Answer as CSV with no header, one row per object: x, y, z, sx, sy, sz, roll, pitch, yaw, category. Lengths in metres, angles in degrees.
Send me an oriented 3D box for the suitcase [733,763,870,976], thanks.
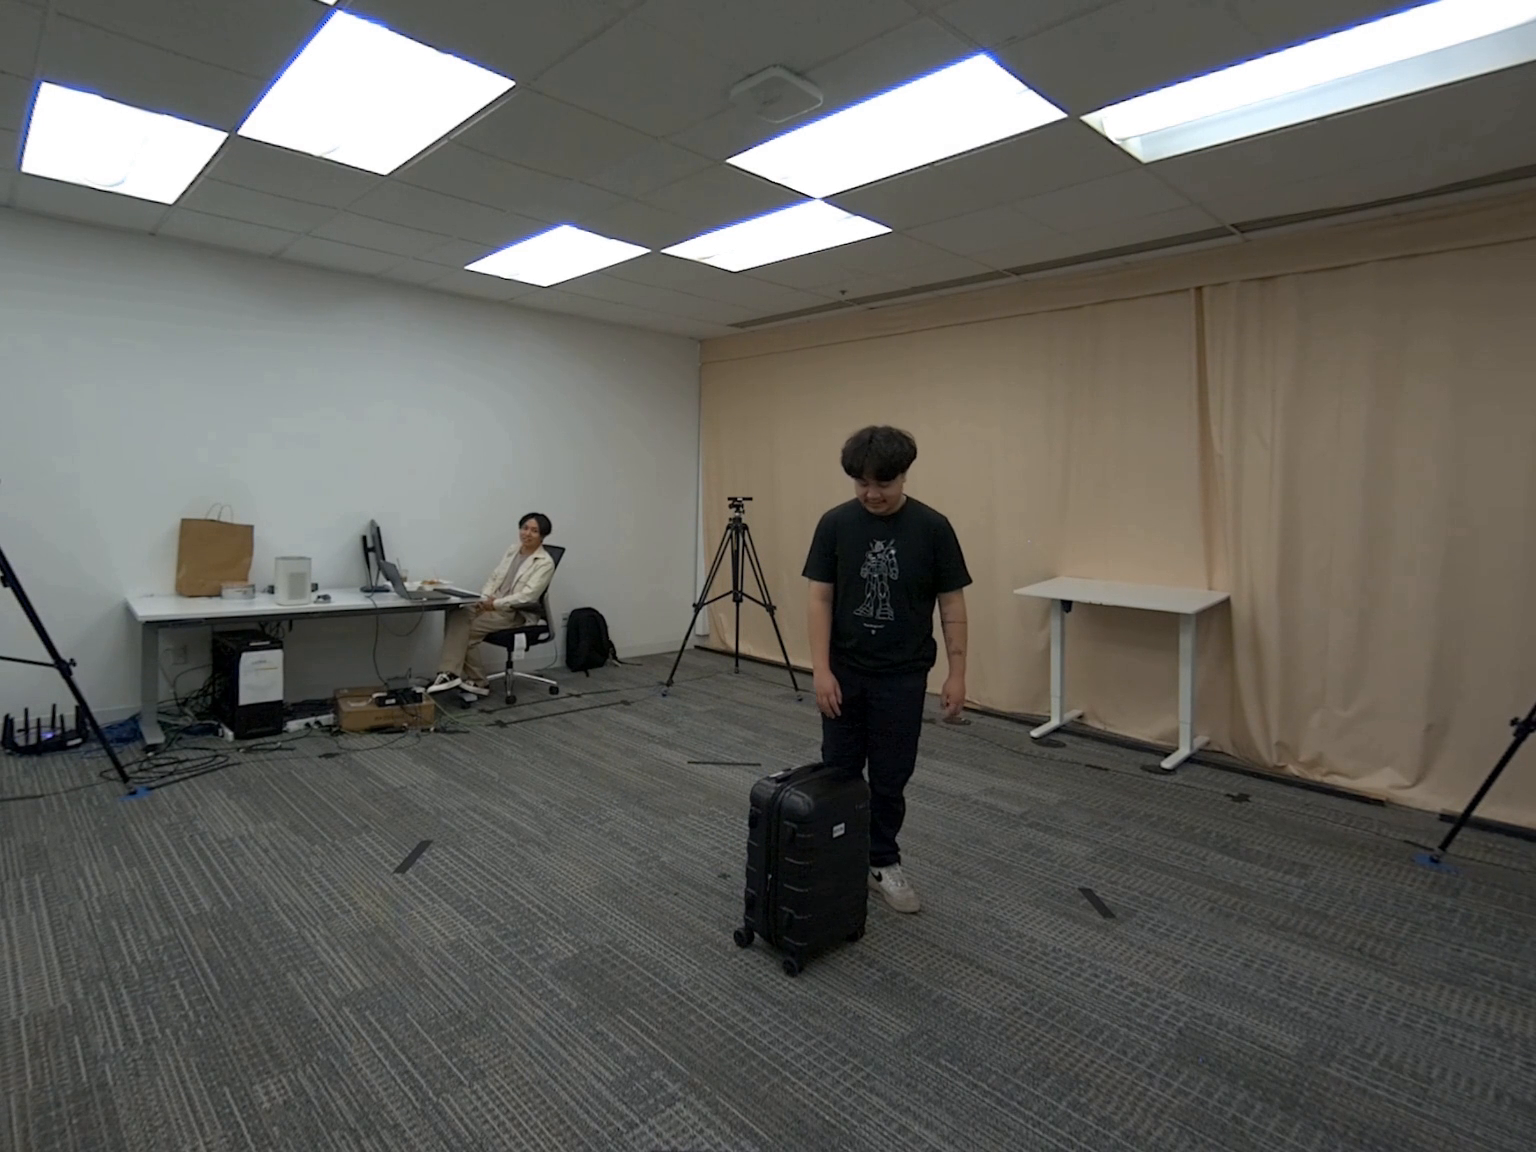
0.119,0.881,2.622,0.255,0.547,0.367,7,6,44,suitcase
